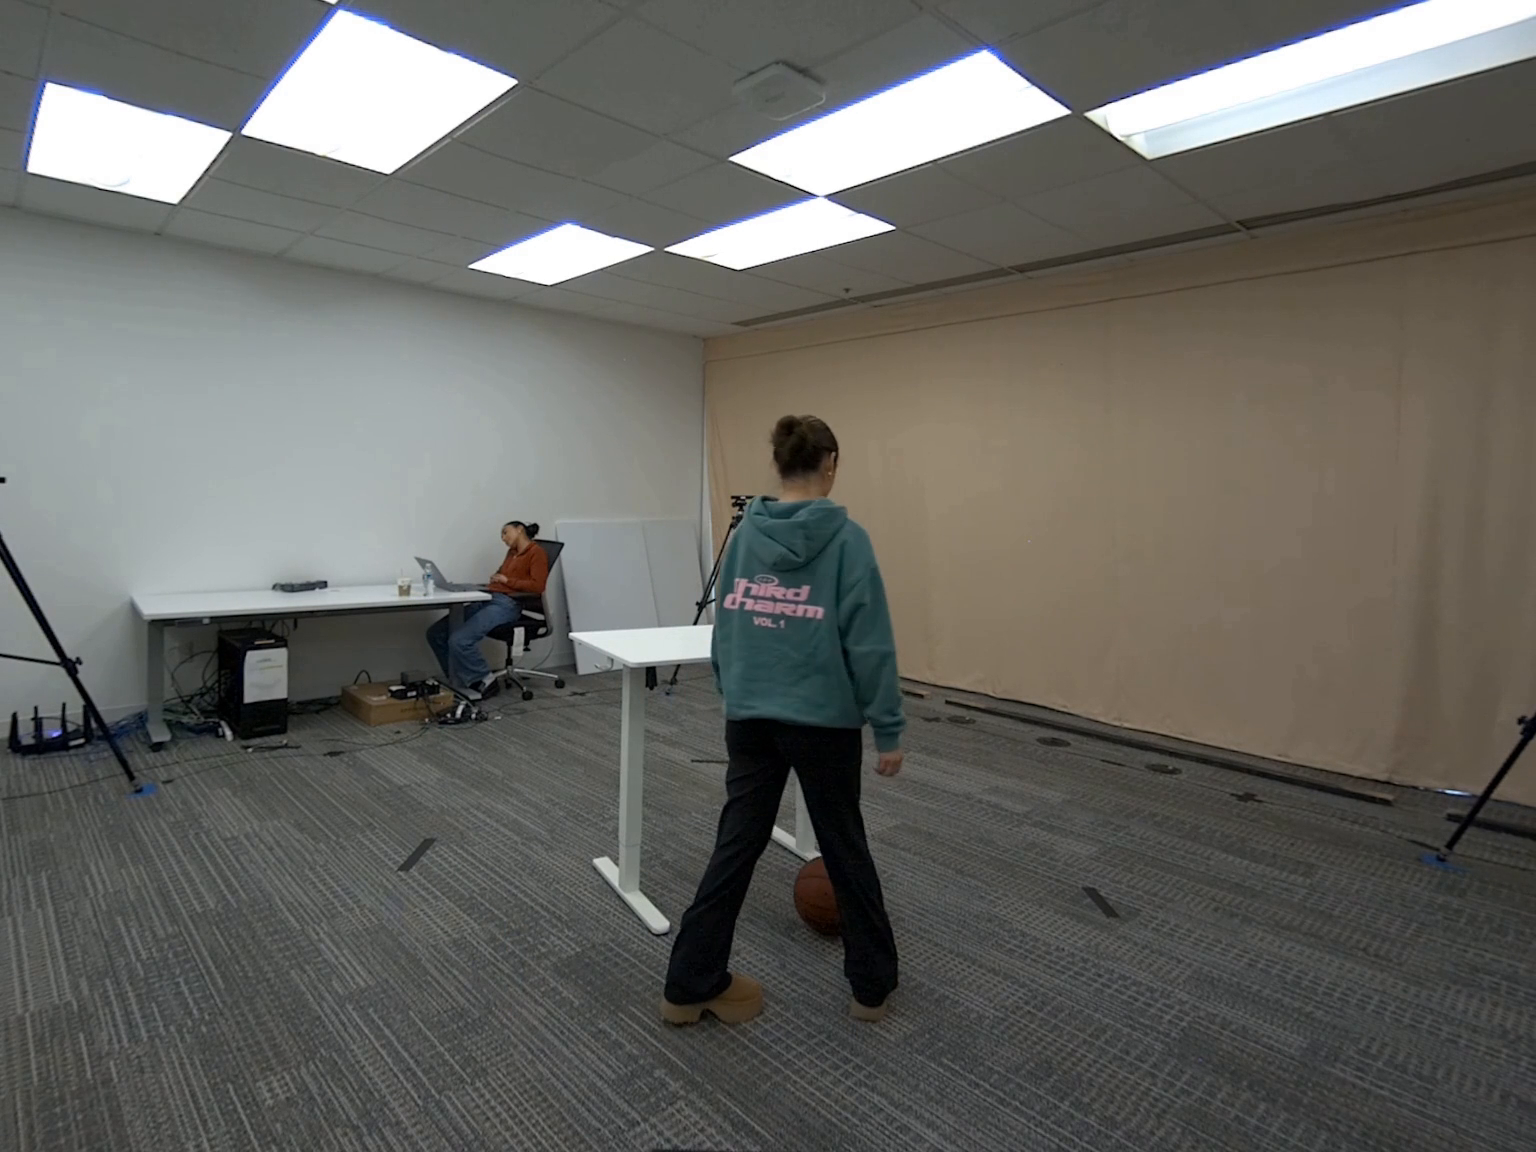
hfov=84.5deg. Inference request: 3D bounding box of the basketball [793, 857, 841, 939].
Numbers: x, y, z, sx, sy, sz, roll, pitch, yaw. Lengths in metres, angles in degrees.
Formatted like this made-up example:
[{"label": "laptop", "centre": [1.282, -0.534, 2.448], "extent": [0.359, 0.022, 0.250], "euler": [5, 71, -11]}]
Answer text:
[{"label": "basketball", "centre": [0.200, 1.035, 2.708], "extent": [0.236, 0.235, 0.237], "euler": [1, 4, -1]}]
